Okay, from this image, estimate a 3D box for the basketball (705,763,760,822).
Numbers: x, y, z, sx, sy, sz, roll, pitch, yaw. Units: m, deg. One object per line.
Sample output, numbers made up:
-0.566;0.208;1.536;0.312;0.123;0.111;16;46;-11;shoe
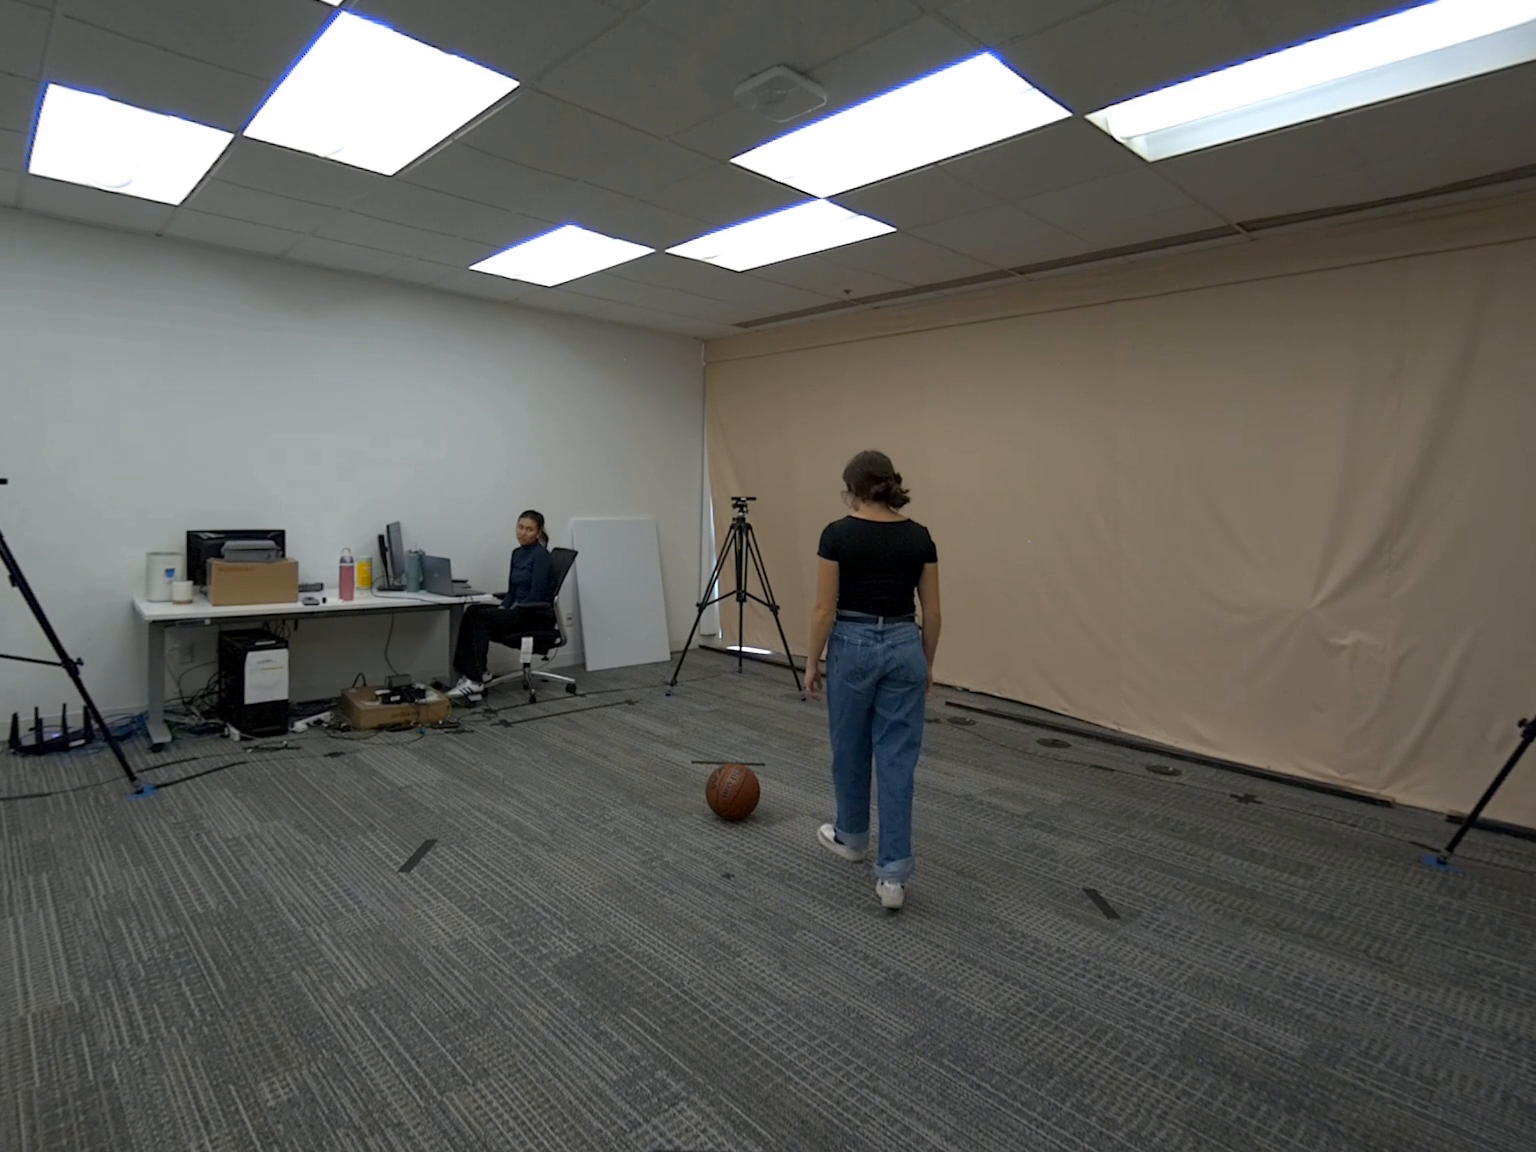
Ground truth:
-0.164;0.937;3.666;0.236;0.235;0.237;1;4;-1;basketball
